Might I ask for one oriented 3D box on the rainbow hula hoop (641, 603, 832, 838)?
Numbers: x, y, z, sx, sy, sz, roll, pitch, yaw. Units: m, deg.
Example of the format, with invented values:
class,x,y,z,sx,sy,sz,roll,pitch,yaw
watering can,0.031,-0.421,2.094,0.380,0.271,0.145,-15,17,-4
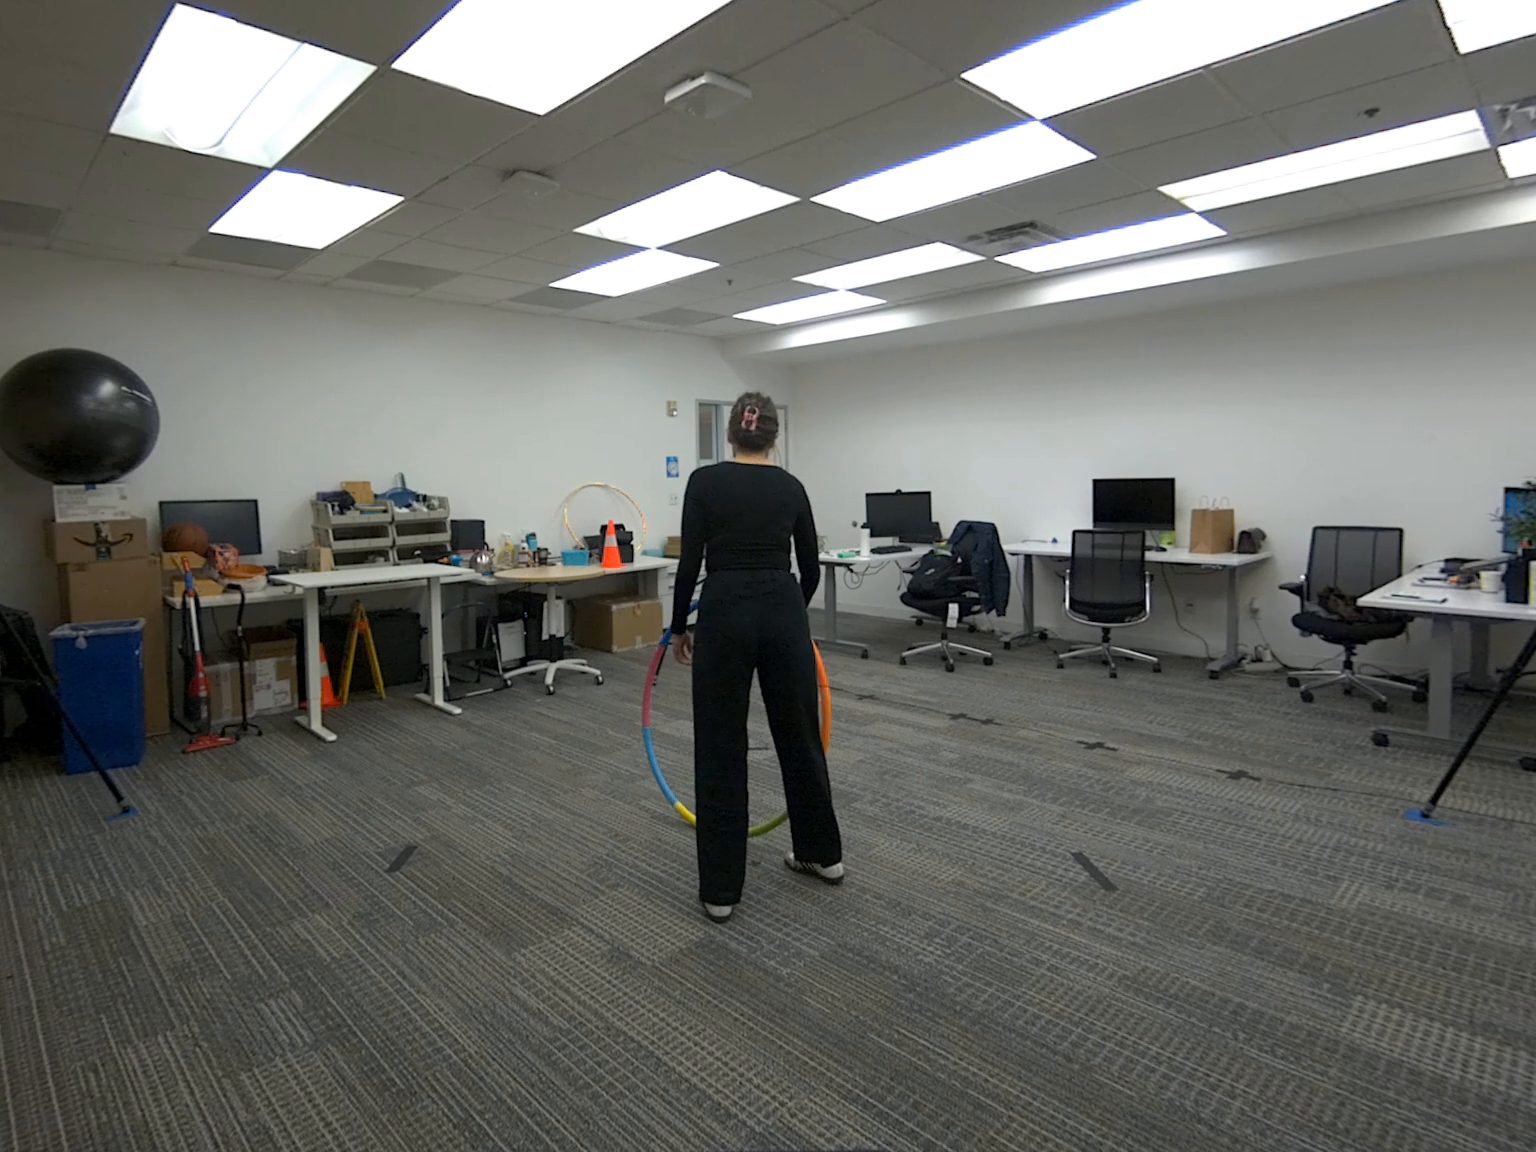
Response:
class,x,y,z,sx,sy,sz,roll,pitch,yaw
rainbow hula hoop,-0.155,0.538,3.415,1.009,0.983,0.034,4,-8,43
